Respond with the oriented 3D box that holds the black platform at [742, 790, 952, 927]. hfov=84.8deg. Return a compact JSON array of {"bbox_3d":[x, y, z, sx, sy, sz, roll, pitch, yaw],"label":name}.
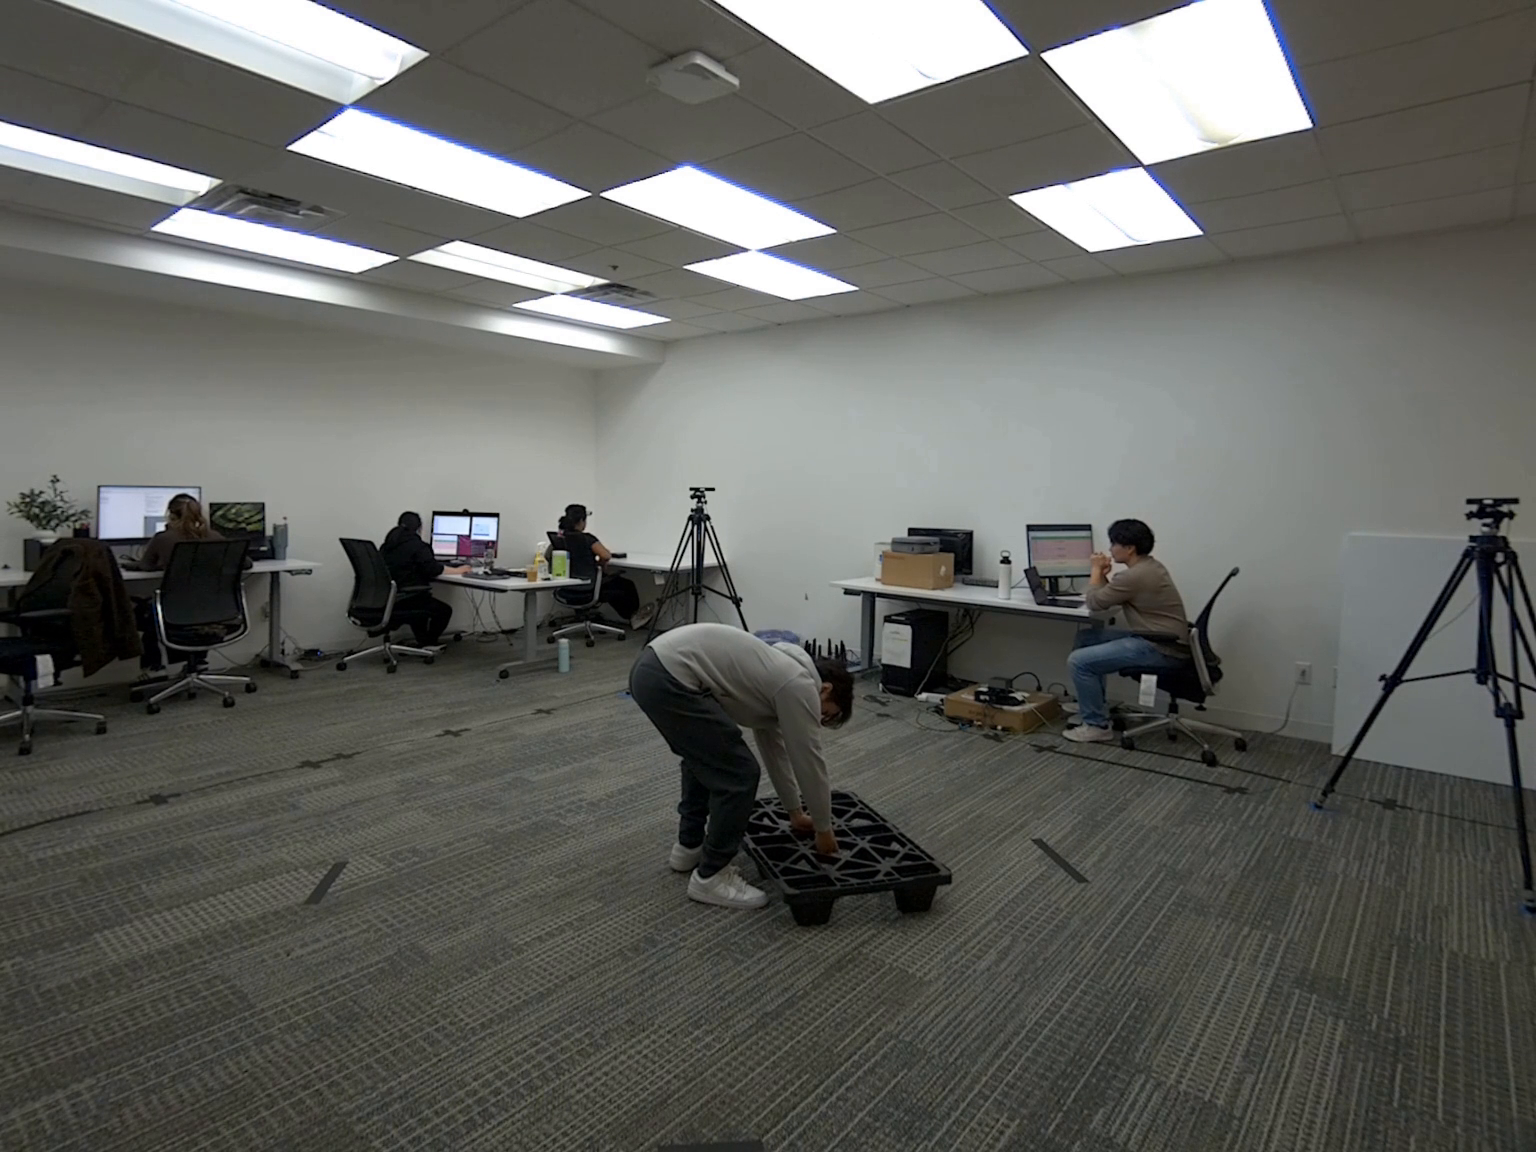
[{"bbox_3d":[0.197,1.003,3.117,0.594,0.143,0.824,0,6,-18],"label":"black platform"}]
